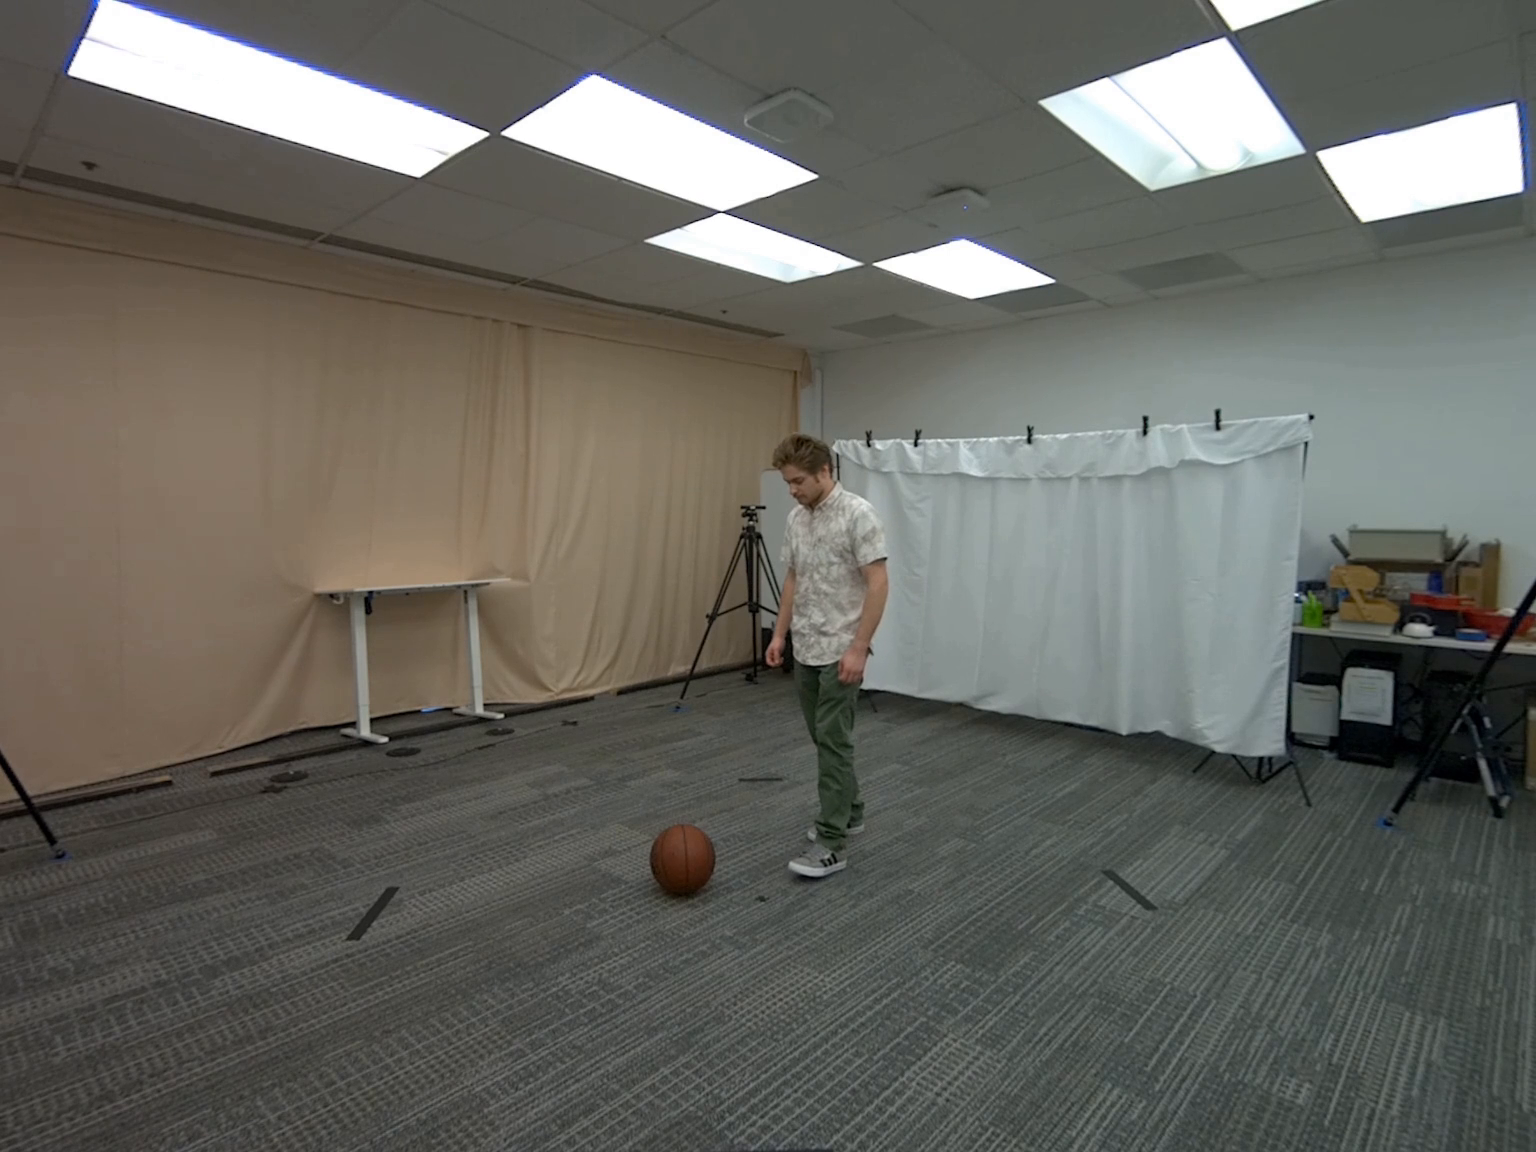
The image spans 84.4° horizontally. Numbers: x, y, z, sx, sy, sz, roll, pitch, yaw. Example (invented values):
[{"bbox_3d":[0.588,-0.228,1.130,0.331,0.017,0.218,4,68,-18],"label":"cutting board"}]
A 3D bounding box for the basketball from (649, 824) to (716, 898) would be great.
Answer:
[{"bbox_3d":[-0.304,1.016,3.038,0.236,0.235,0.237,0,4,-2],"label":"basketball"}]
